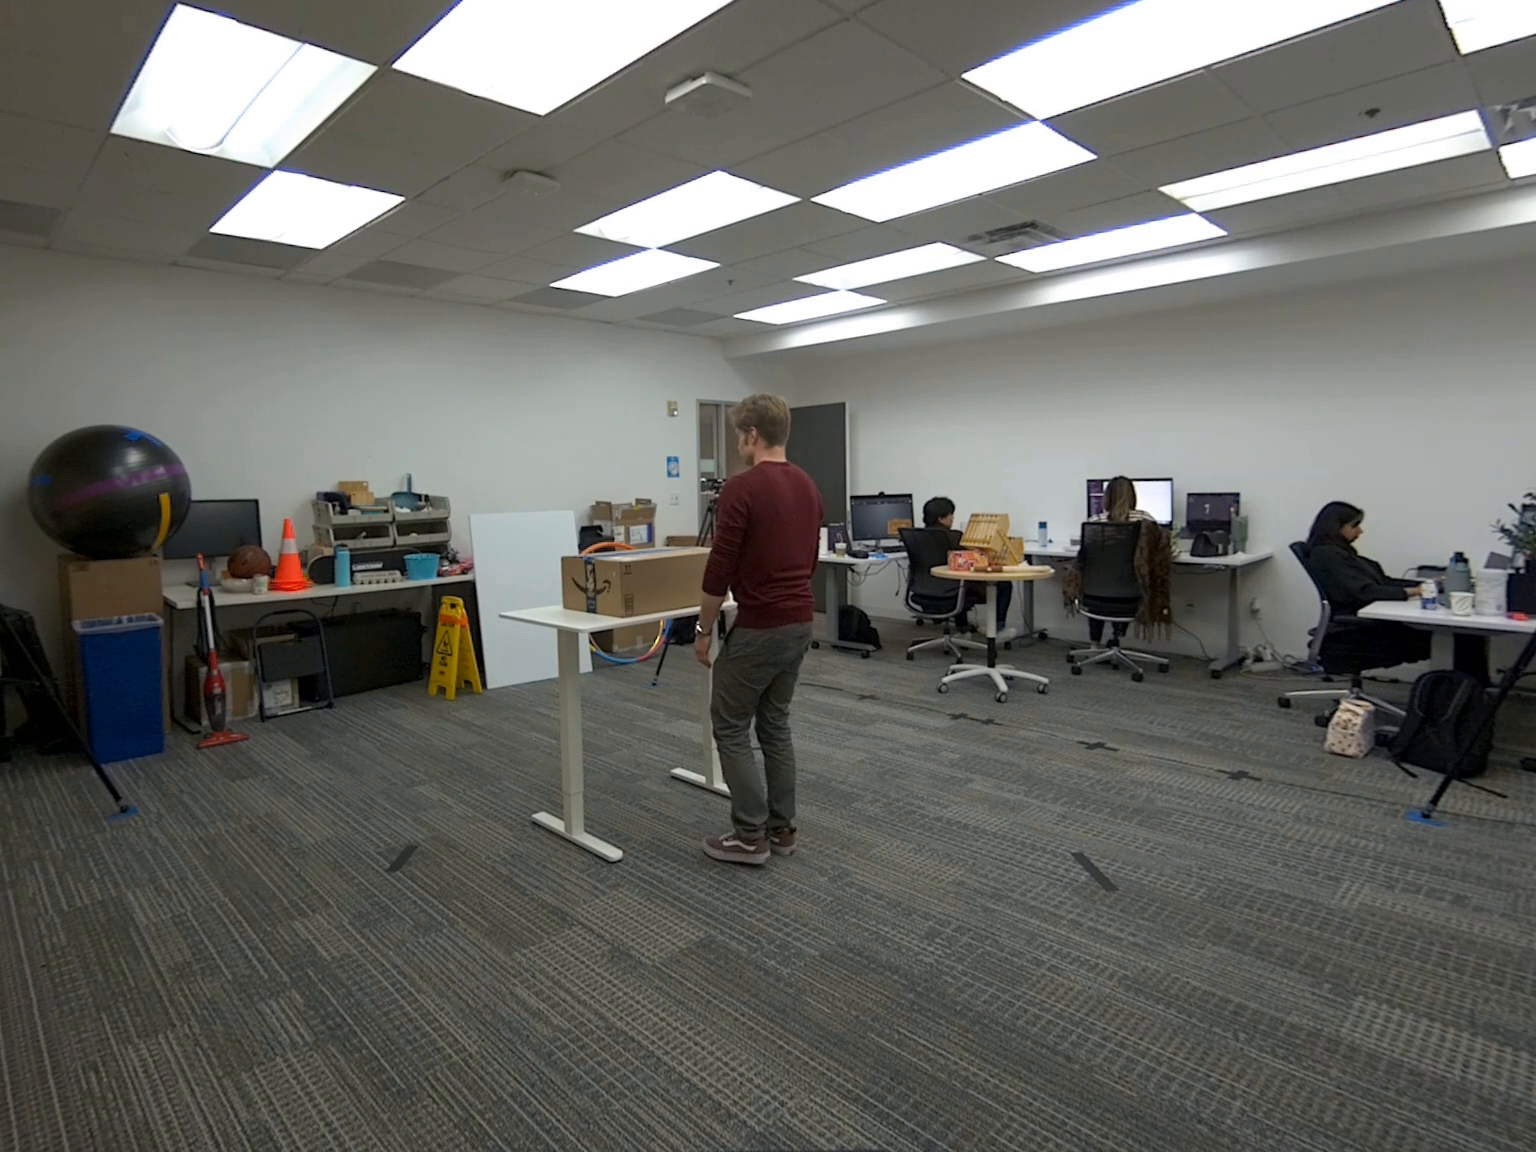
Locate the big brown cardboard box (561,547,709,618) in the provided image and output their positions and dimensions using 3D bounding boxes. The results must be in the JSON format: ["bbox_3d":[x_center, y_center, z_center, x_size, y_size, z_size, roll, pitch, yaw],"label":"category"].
[{"bbox_3d":[-0.504,0.011,3.540,0.573,0.232,0.430,-7,7,-44],"label":"big brown cardboard box"}]
